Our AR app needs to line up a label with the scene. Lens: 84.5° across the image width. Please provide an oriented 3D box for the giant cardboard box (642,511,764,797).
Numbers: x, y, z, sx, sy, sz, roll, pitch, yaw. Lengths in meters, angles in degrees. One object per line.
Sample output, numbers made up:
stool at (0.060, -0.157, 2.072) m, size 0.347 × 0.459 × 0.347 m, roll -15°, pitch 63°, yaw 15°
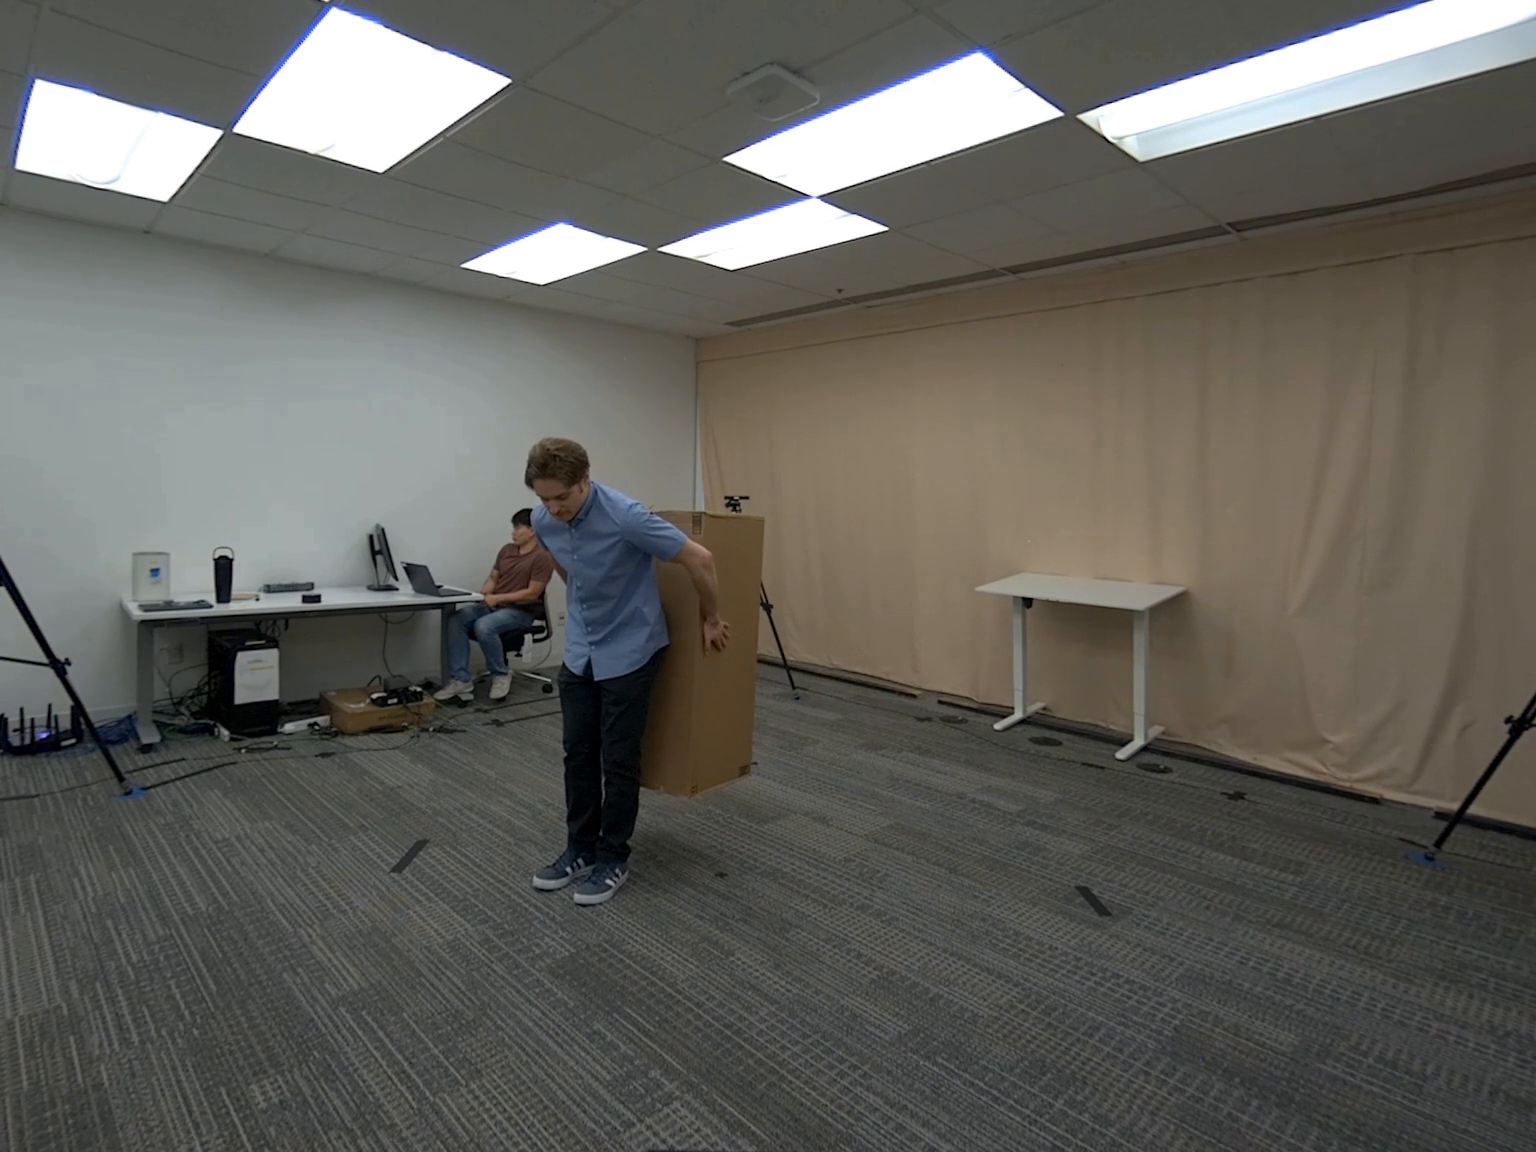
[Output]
giant cardboard box at (-0.393, 0.266, 3.295) m, size 0.597 × 1.027 × 0.437 m, roll 3°, pitch 0°, yaw 31°
